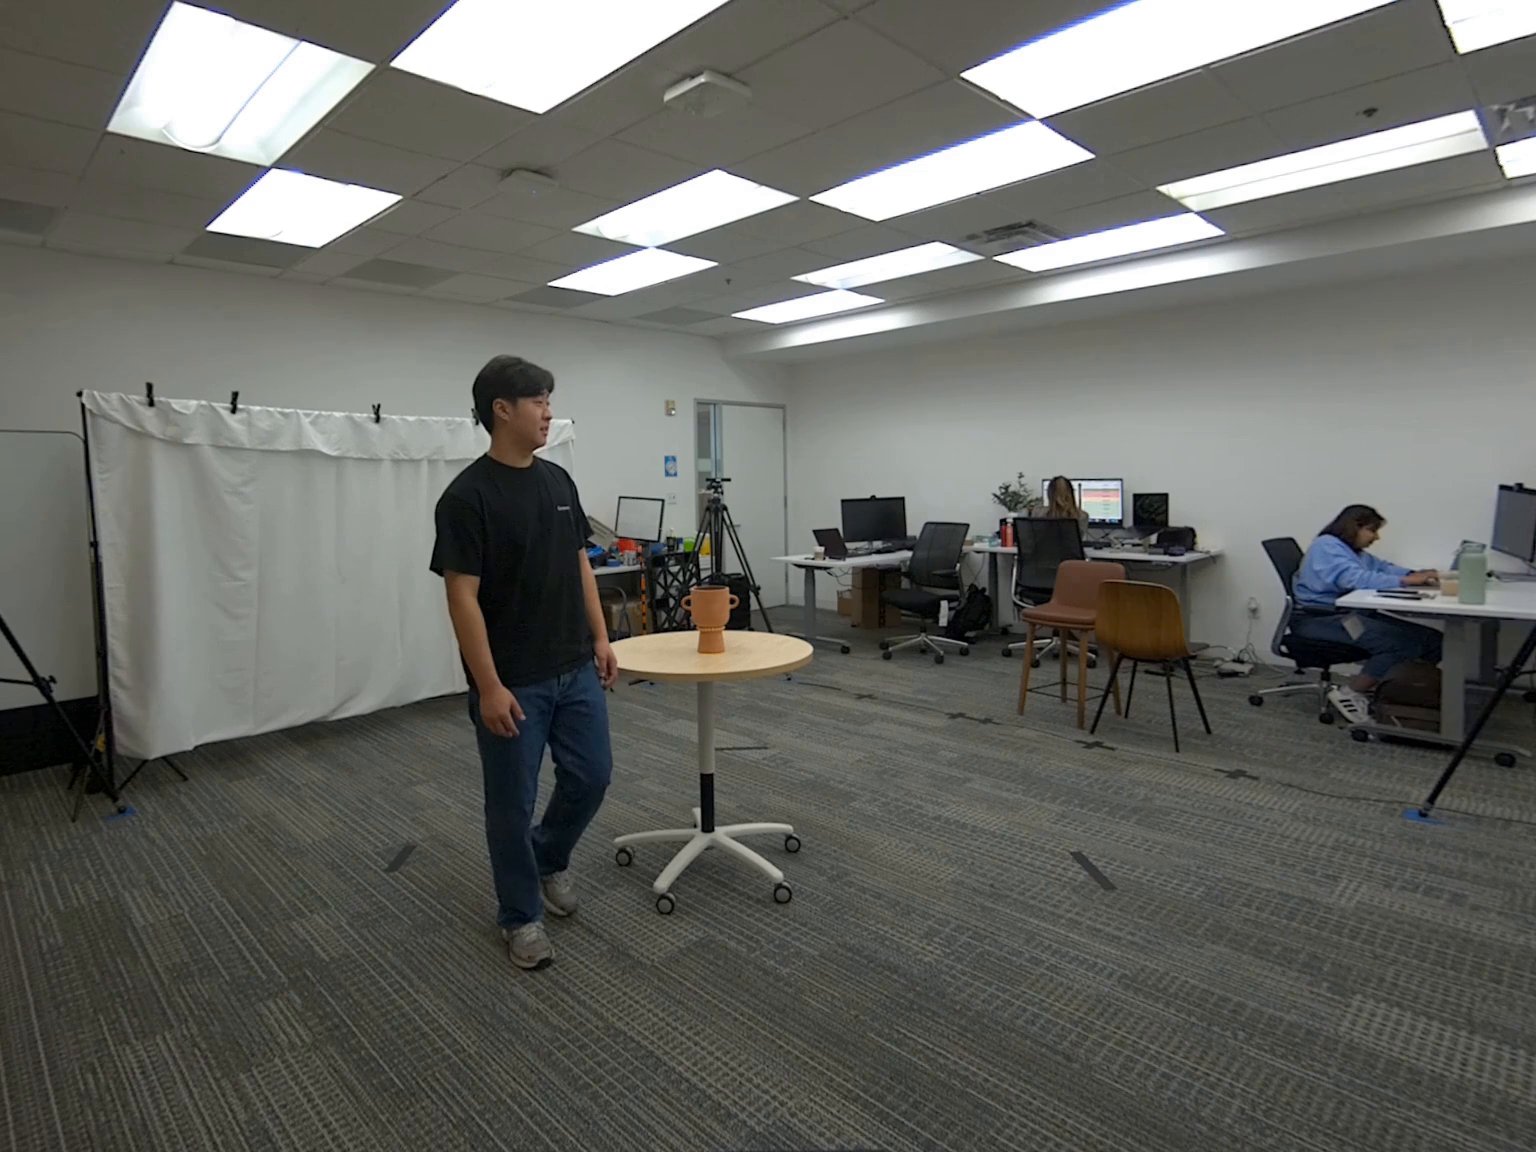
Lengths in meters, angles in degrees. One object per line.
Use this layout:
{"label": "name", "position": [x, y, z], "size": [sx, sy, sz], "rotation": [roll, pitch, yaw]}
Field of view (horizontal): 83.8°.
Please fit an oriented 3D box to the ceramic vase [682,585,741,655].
{"label": "ceramic vase", "position": [-0.199, 0.153, 2.977], "size": [0.163, 0.219, 0.131], "rotation": [3, 5, 36]}
